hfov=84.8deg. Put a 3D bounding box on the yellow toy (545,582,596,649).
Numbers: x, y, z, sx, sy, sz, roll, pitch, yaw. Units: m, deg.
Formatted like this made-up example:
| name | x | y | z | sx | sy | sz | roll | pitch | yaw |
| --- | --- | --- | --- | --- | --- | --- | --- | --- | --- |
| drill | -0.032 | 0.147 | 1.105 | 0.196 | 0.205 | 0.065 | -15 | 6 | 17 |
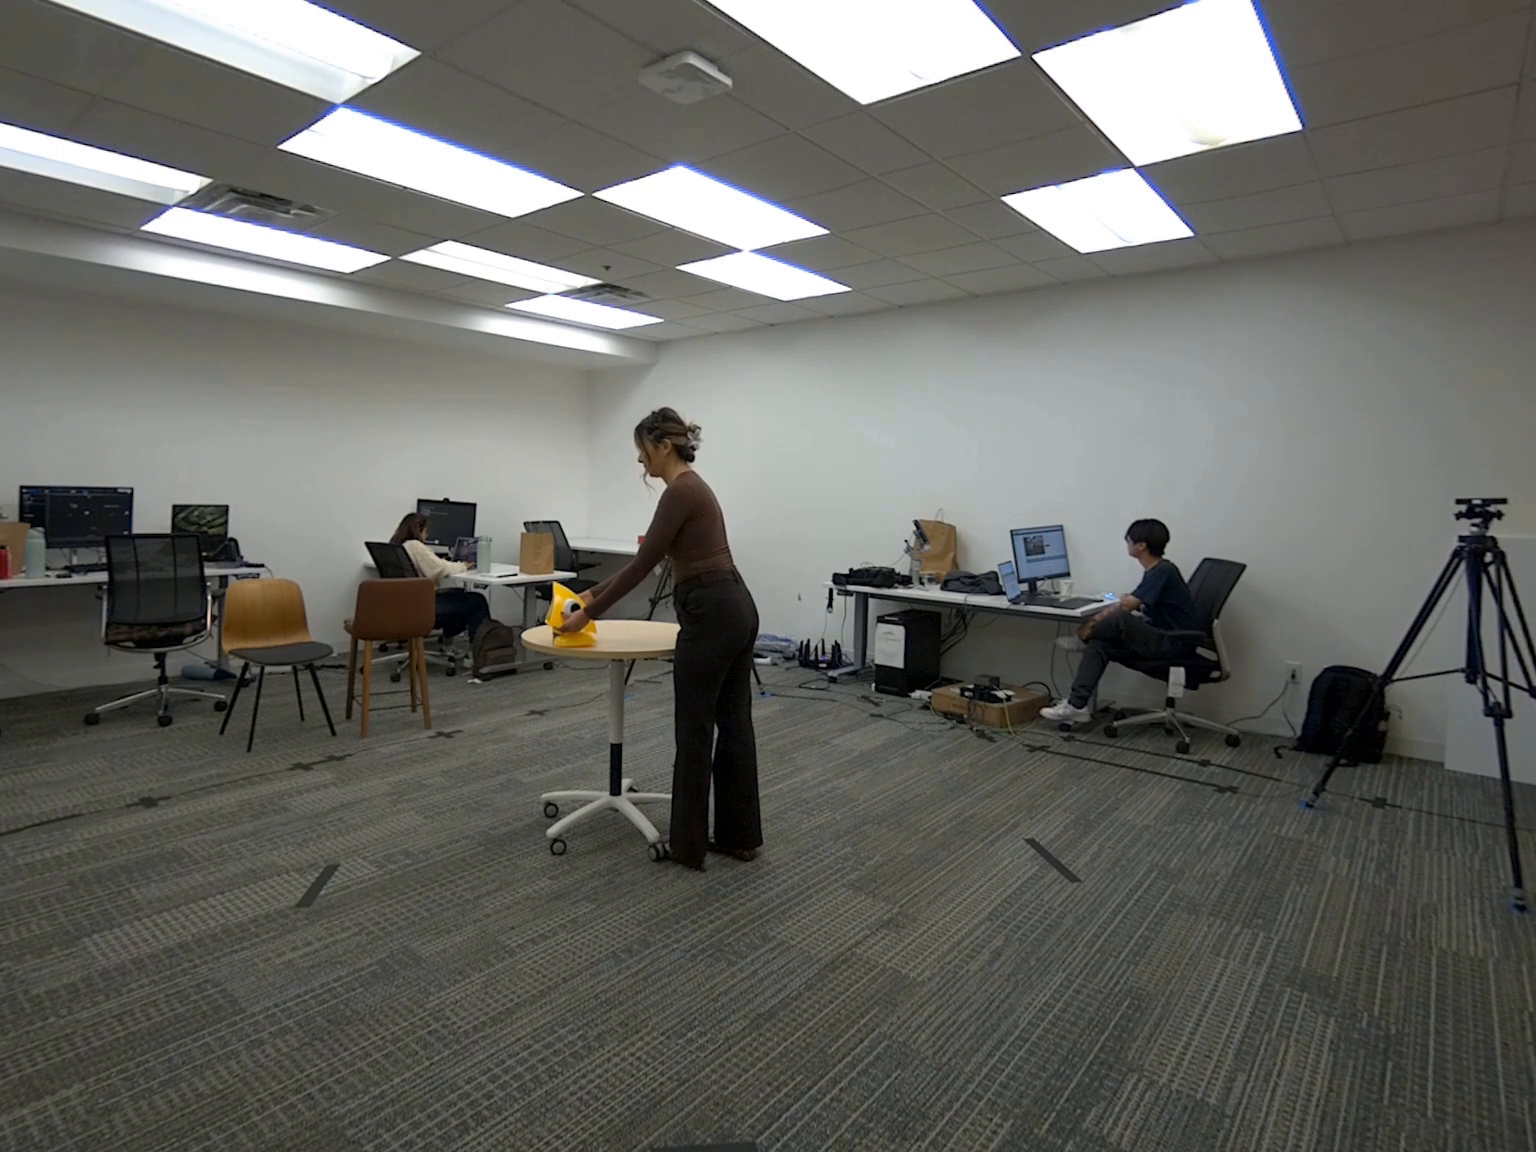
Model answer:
| name | x | y | z | sx | sy | sz | roll | pitch | yaw |
| --- | --- | --- | --- | --- | --- | --- | --- | --- | --- |
| yellow toy | -0.759 | 0.131 | 3.219 | 0.190 | 0.230 | 0.209 | -3 | 4 | -15 |
